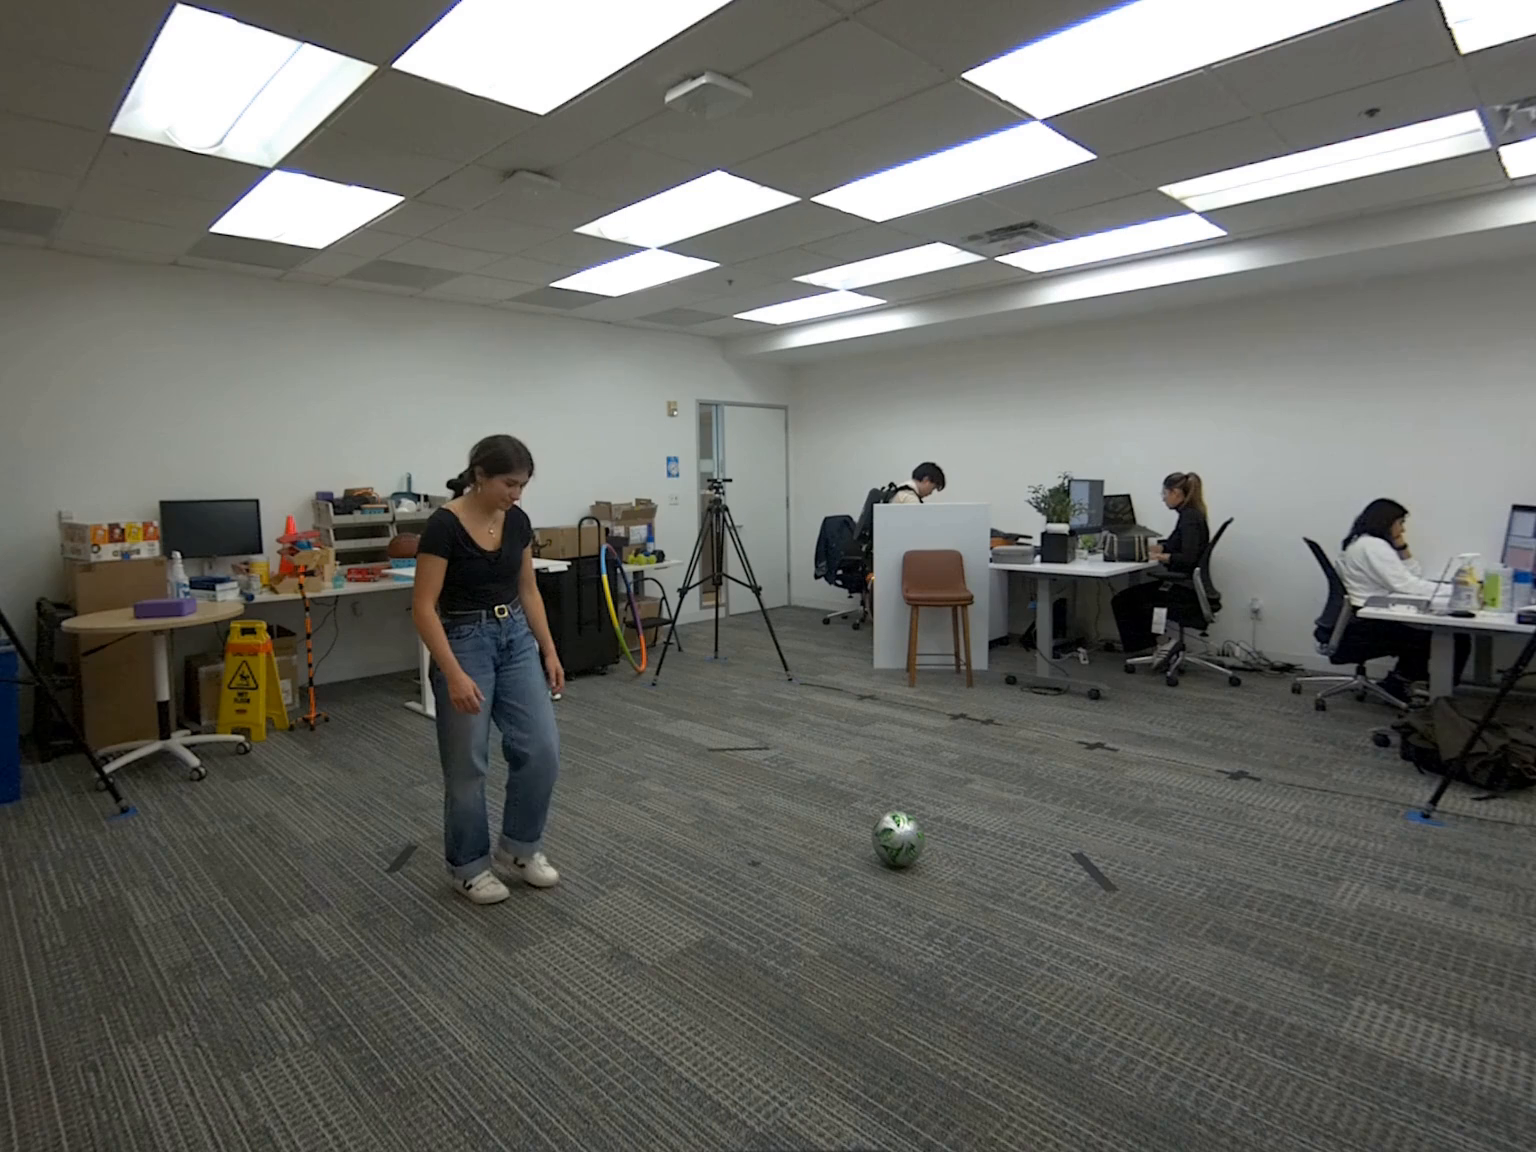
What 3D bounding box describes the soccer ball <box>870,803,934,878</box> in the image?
[{"bbox_3d":[0.476,0.946,3.084,0.187,0.187,0.188,-1,5,-2],"label":"soccer ball"}]
